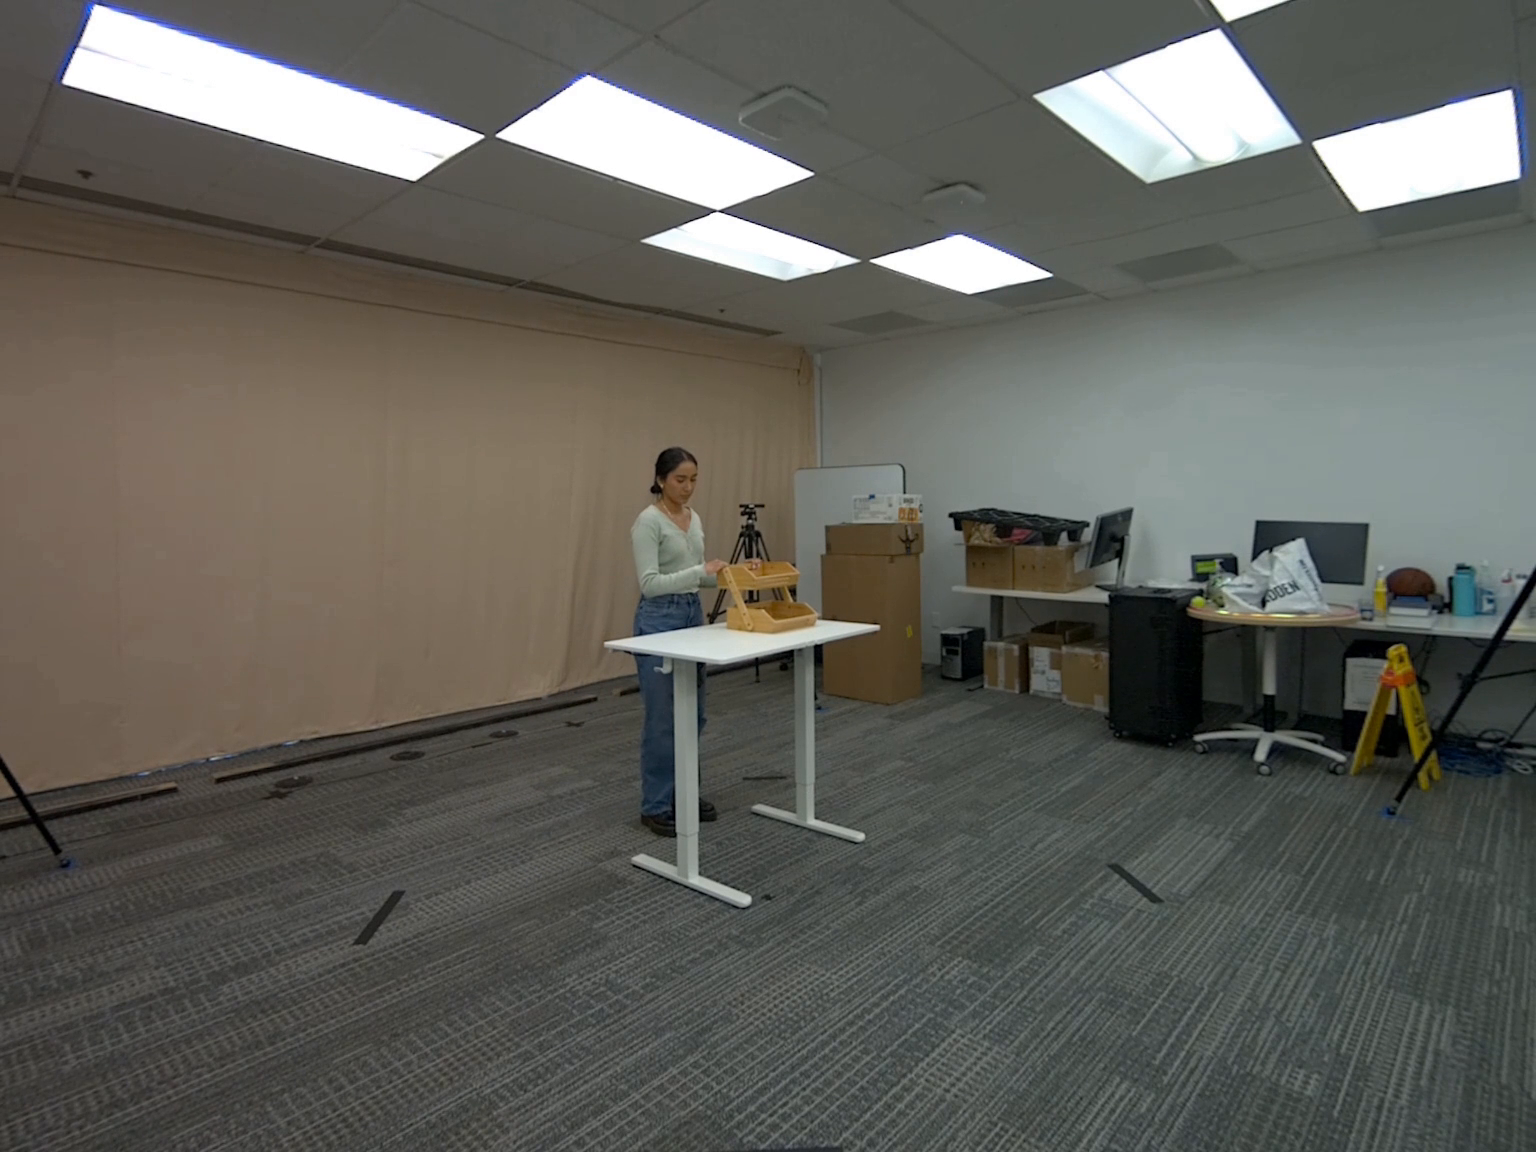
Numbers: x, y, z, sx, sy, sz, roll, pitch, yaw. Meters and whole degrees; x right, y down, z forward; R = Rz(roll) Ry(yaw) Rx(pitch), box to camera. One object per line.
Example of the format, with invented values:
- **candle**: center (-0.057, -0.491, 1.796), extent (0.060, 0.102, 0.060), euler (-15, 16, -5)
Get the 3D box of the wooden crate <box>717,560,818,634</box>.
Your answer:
- **wooden crate**: center (0.004, 0.082, 3.516), extent (0.312, 0.273, 0.315), euler (2, 4, 40)
